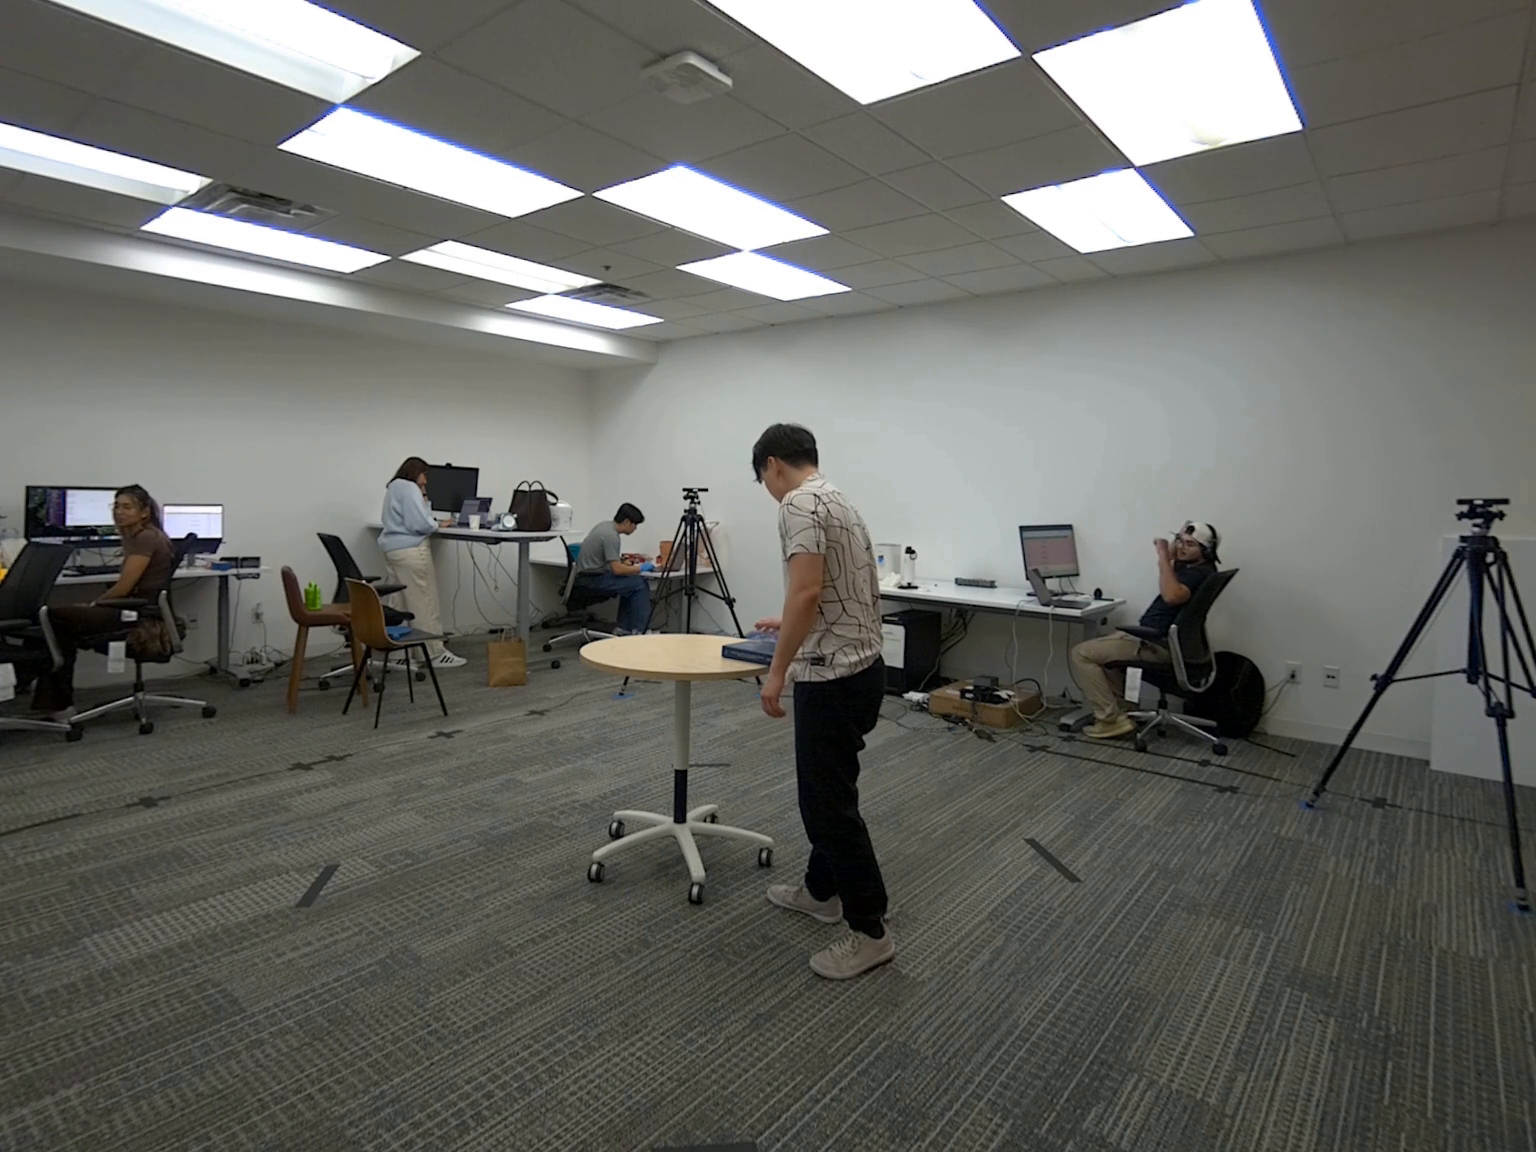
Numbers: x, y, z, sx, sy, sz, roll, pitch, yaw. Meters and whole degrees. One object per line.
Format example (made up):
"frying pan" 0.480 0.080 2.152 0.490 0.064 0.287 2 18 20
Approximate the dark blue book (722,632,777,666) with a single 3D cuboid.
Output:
"dark blue book" -0.033 0.270 3.057 0.253 0.045 0.159 6 9 35
